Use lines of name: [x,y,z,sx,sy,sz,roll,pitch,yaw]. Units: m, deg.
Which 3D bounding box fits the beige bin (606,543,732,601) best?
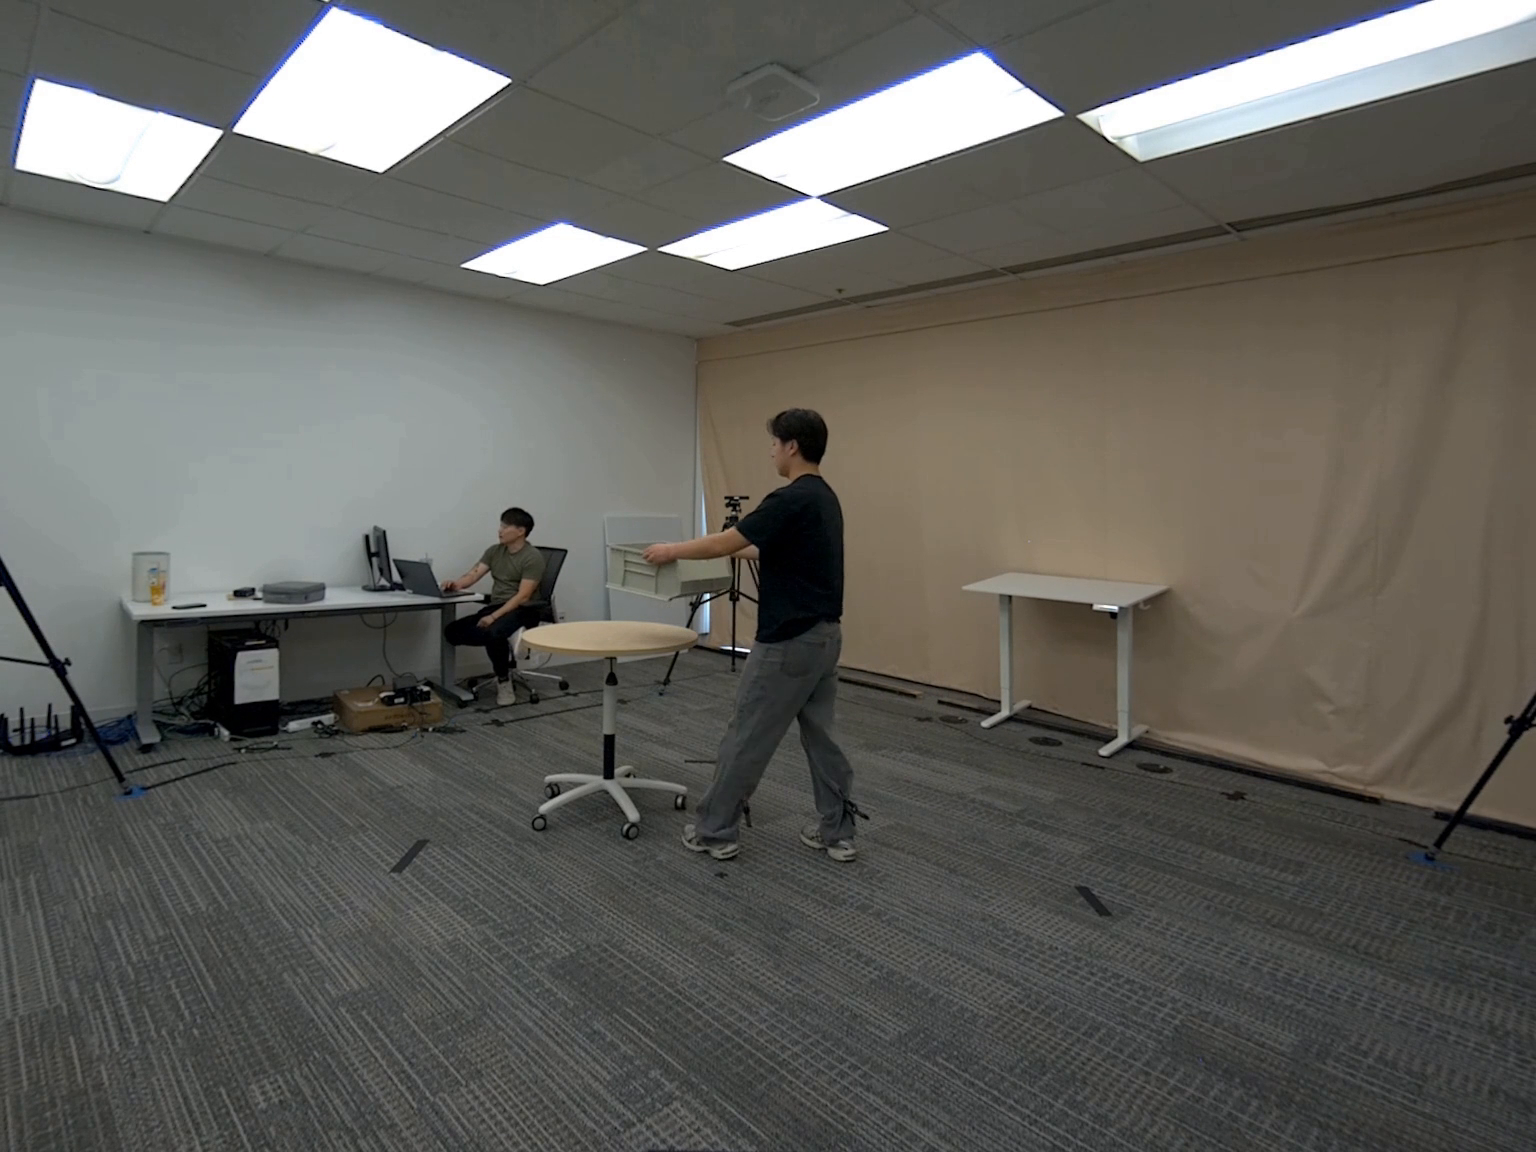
beige bin: [-0.414,-0.016,3.553,0.386,0.188,0.415,10,9,28]
